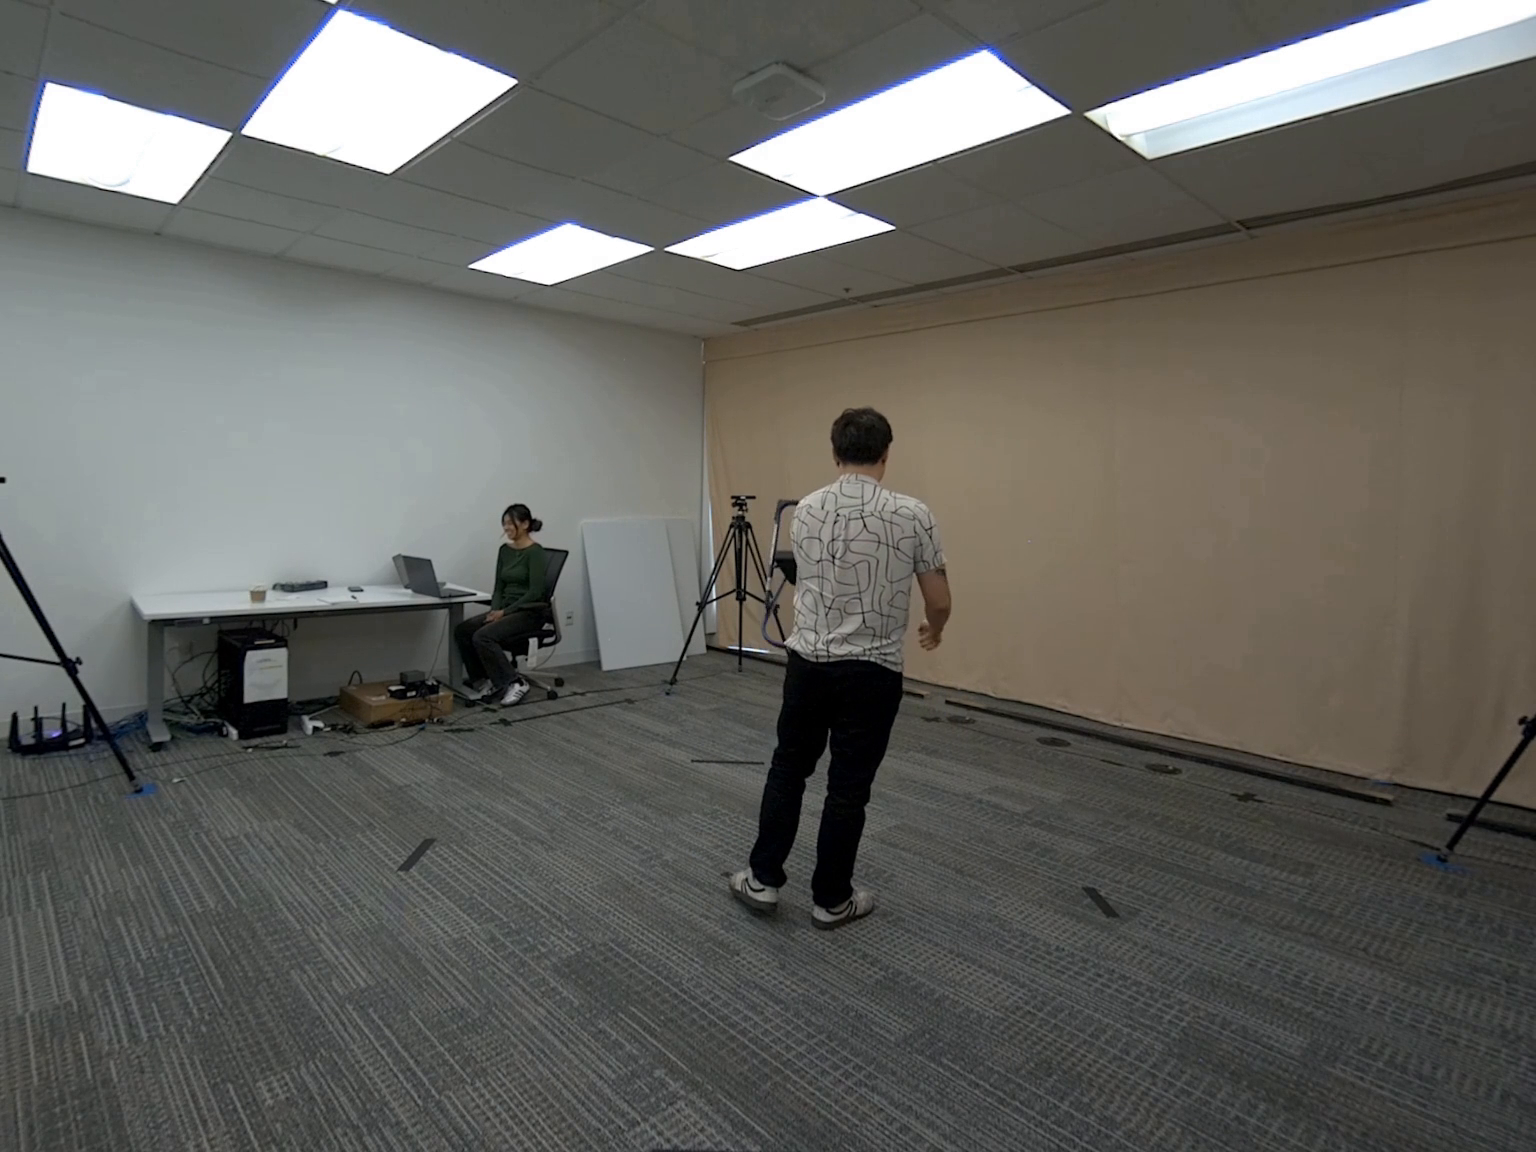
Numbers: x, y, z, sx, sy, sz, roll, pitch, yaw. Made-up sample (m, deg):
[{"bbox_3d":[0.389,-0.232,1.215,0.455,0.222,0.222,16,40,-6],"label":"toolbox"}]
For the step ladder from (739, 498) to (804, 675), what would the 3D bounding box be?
[{"bbox_3d":[0.215,0.047,3.300,0.439,0.613,0.338,2,-29,25],"label":"step ladder"}]
